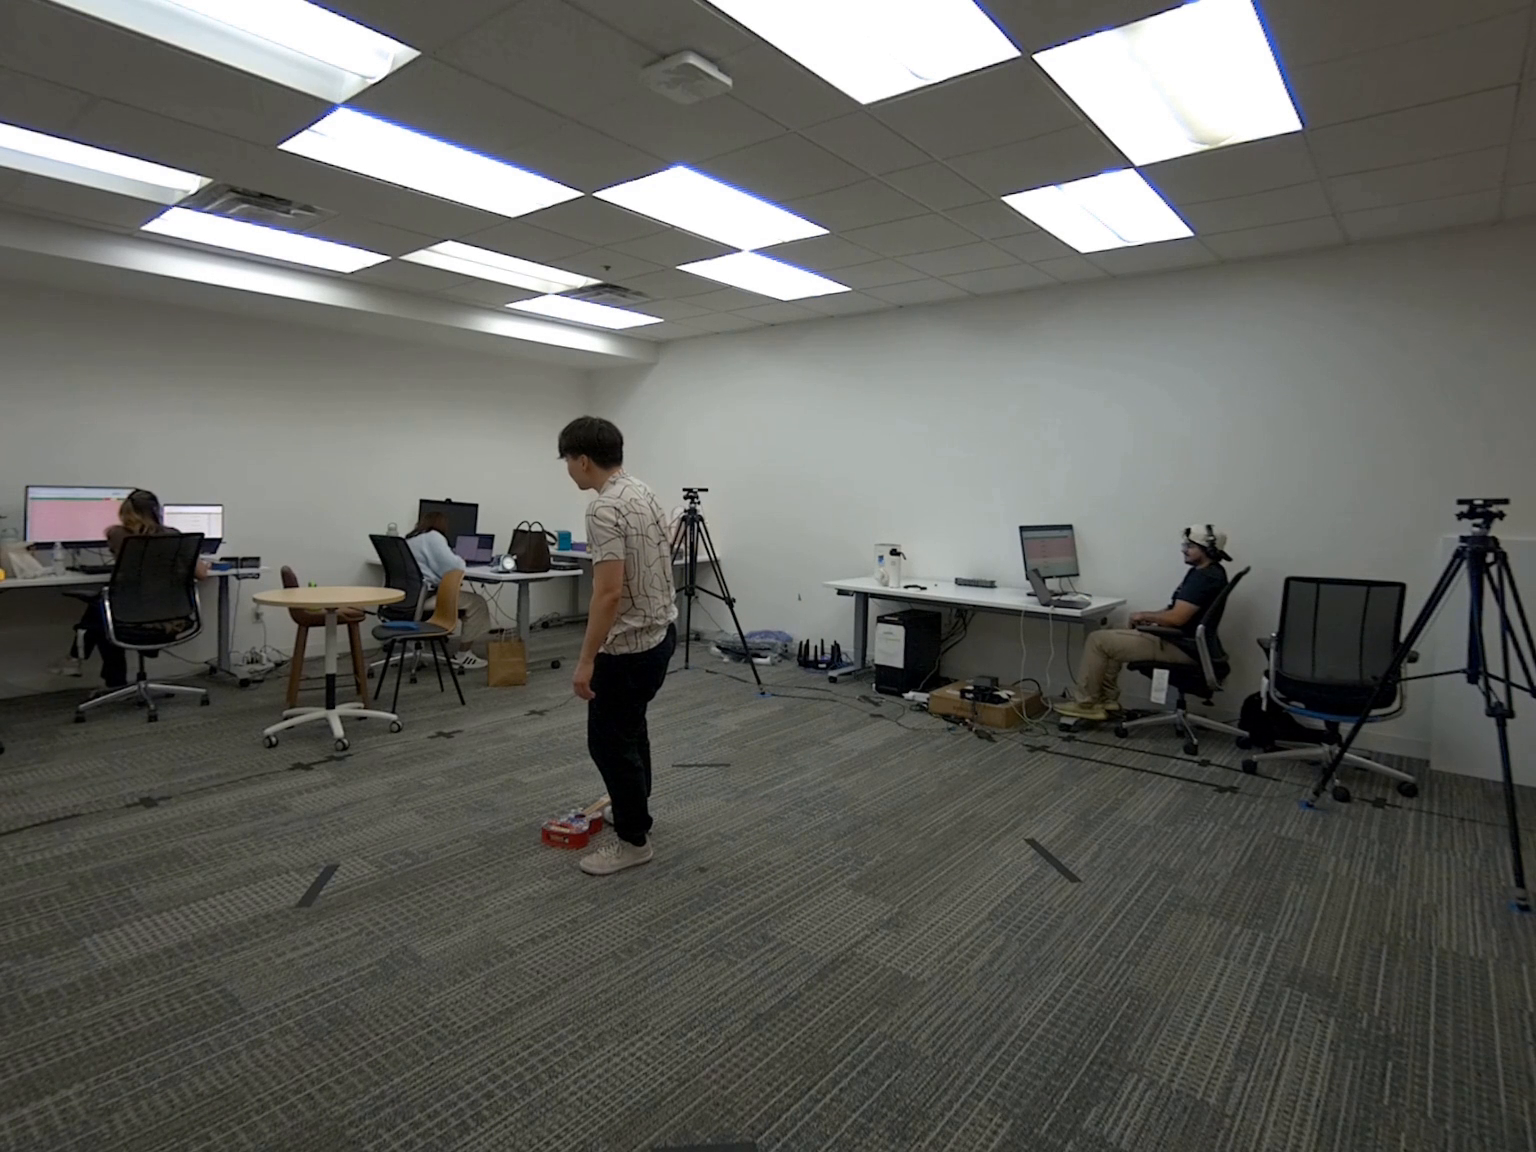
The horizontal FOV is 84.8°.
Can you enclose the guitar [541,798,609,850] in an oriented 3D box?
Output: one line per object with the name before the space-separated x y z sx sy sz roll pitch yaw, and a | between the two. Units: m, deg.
guitar | -0.721 0.988 3.497 0.198 0.070 0.486 4 7 28
